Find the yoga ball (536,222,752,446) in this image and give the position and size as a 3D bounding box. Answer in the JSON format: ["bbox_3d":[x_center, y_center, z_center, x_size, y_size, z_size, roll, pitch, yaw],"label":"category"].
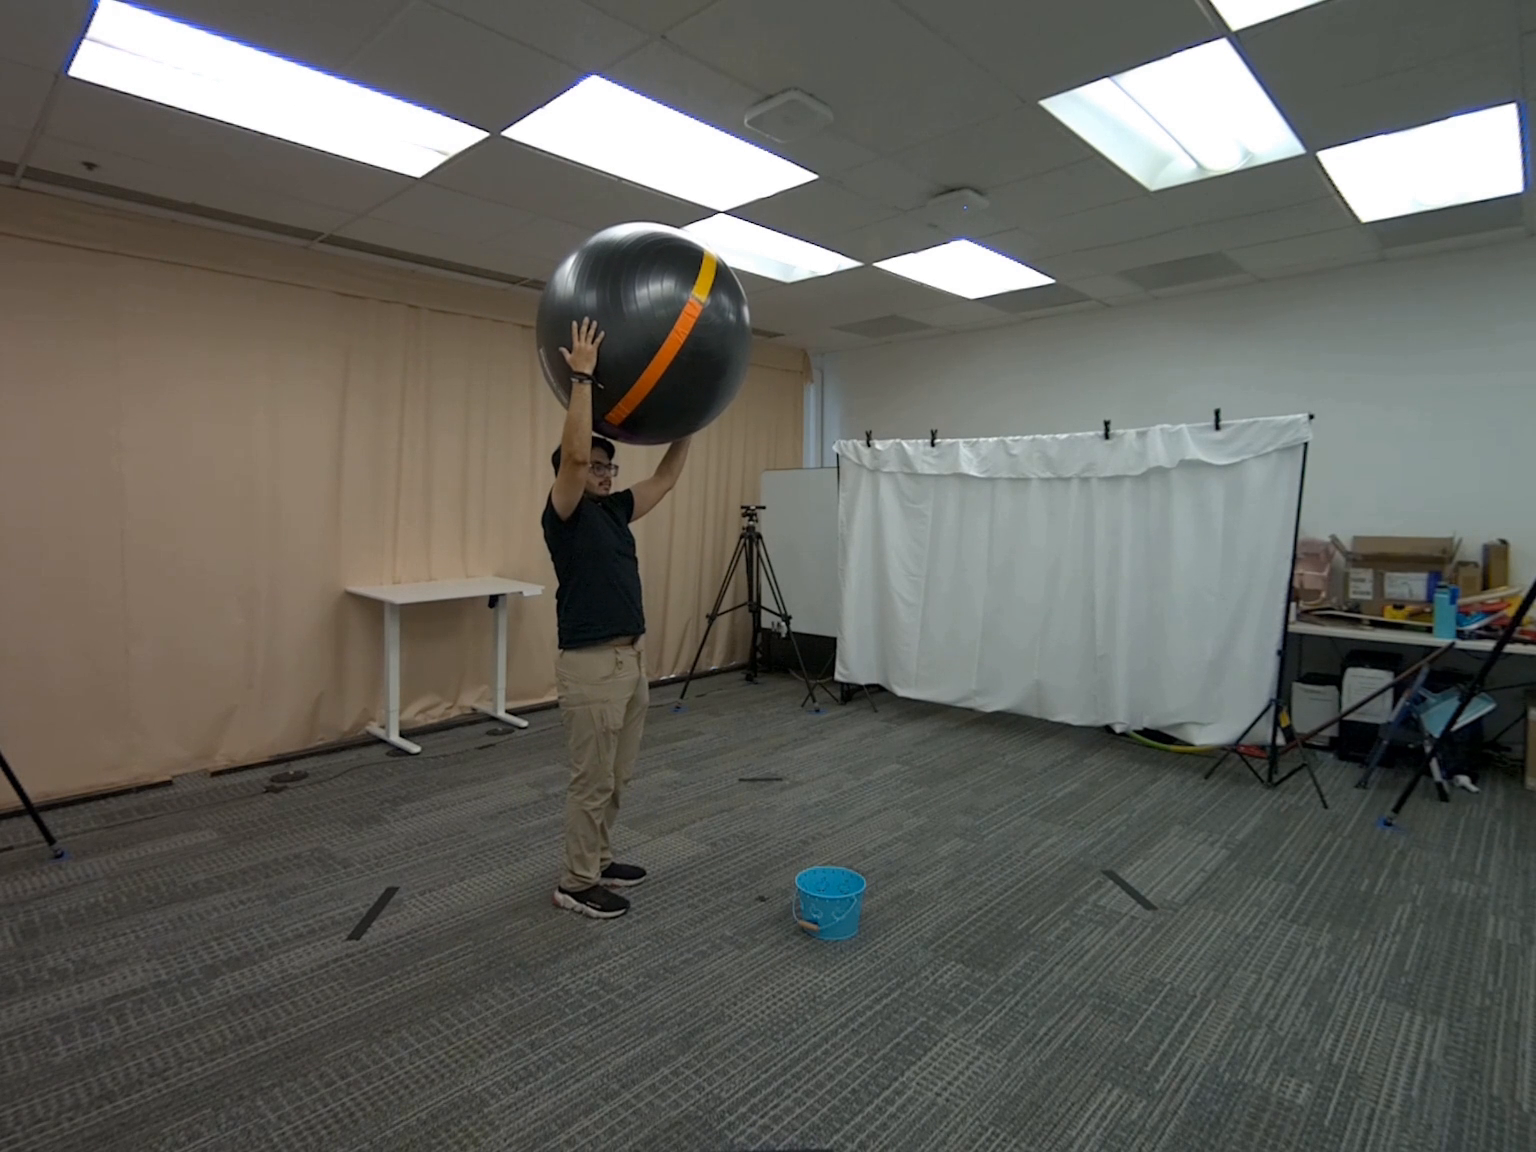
[{"bbox_3d":[-0.429,-0.838,2.971,0.757,0.756,0.761,0,4,-2],"label":"yoga ball"}]
